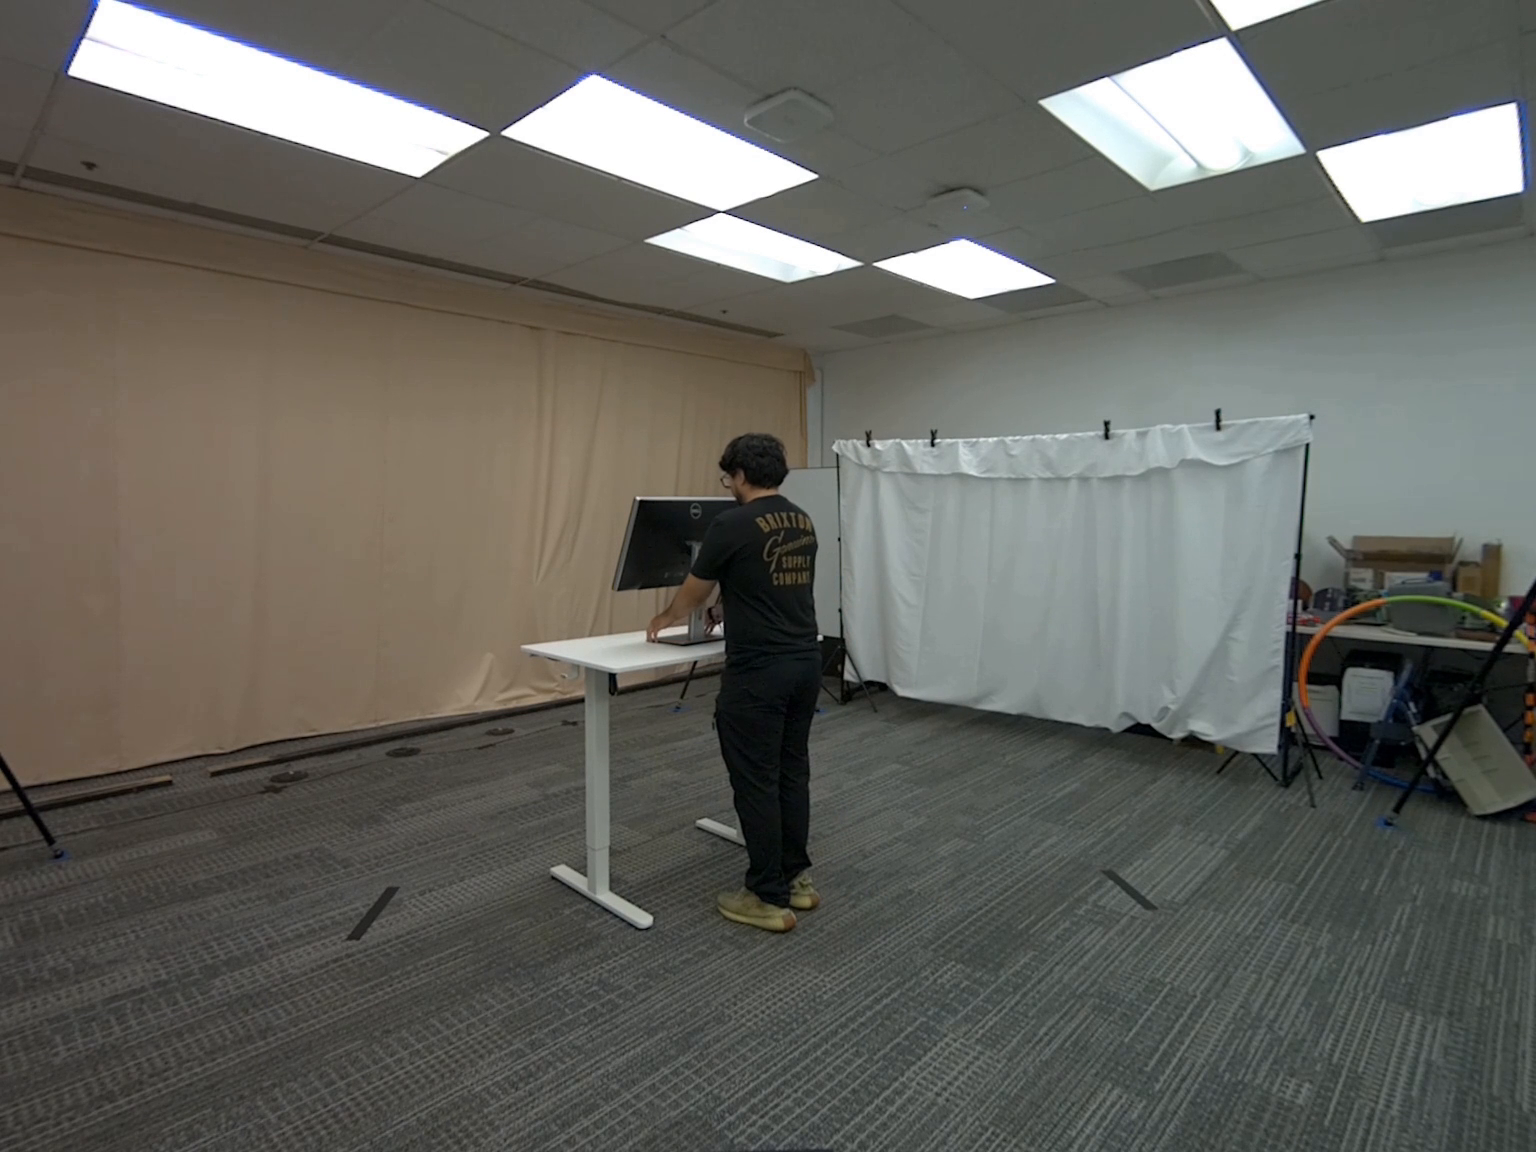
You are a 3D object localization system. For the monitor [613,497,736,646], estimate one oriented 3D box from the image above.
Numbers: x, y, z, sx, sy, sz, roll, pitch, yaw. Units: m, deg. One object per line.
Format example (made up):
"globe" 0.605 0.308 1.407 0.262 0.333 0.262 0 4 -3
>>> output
"monitor" -0.286 -0.020 3.169 0.218 0.551 0.548 19 14 38
